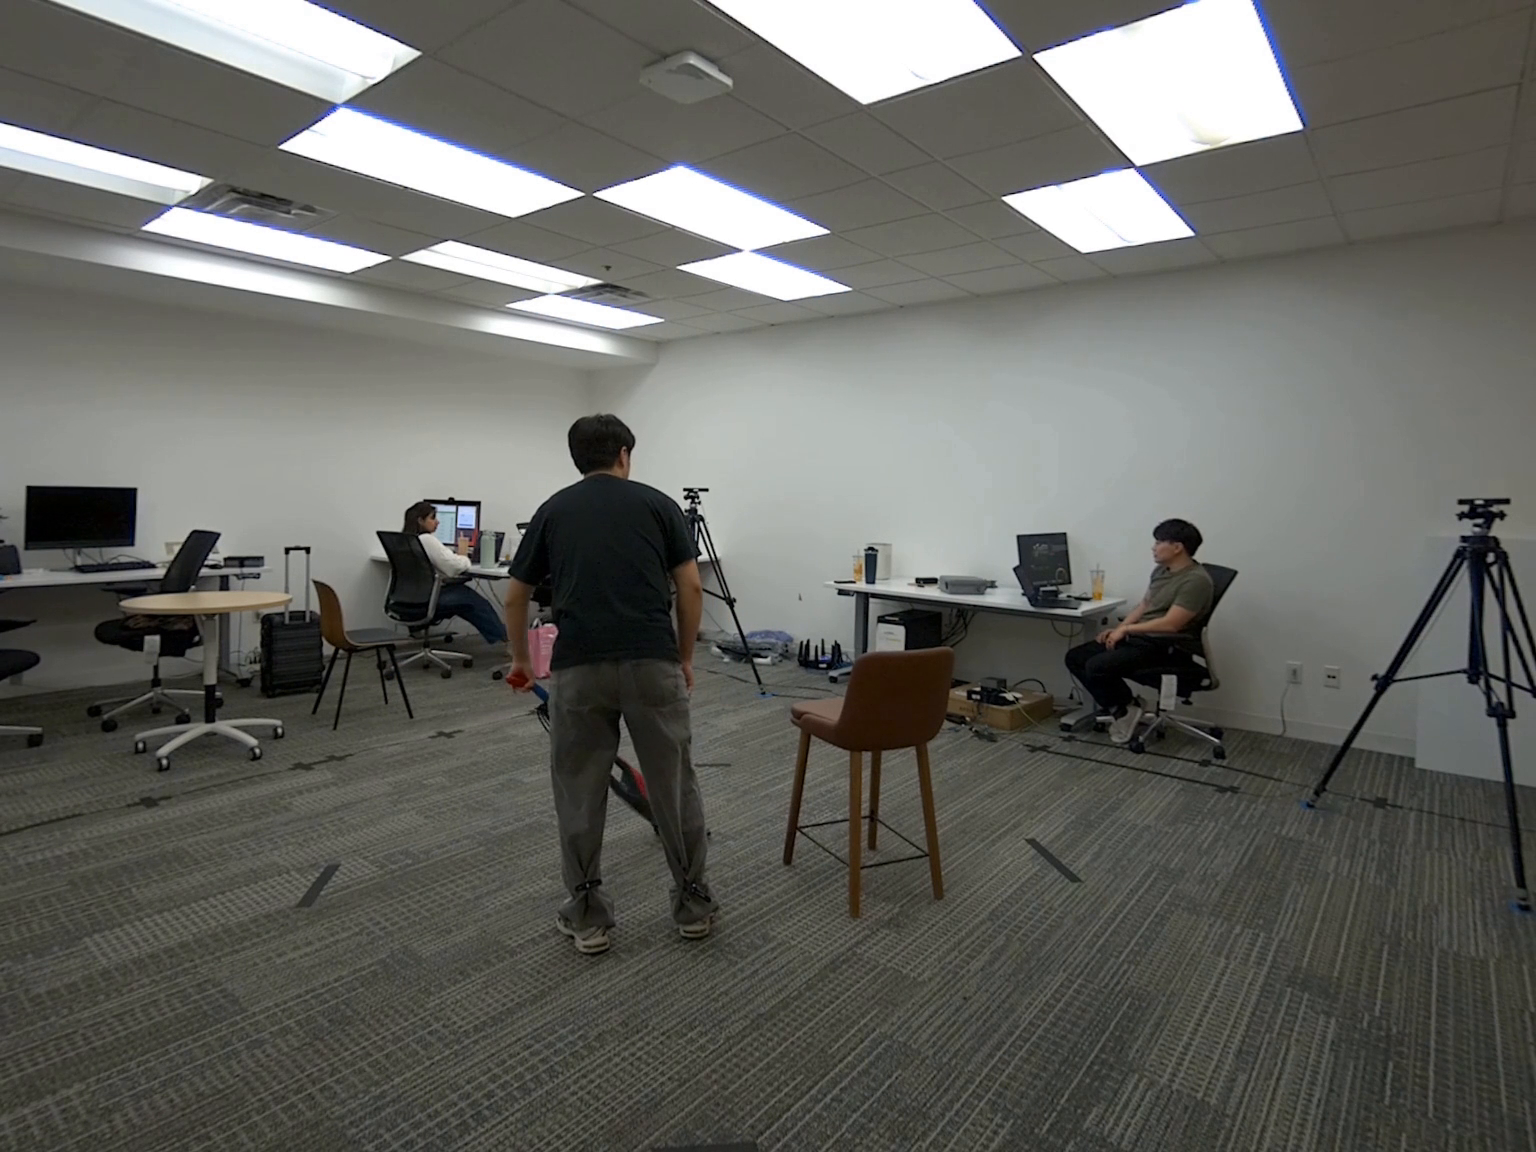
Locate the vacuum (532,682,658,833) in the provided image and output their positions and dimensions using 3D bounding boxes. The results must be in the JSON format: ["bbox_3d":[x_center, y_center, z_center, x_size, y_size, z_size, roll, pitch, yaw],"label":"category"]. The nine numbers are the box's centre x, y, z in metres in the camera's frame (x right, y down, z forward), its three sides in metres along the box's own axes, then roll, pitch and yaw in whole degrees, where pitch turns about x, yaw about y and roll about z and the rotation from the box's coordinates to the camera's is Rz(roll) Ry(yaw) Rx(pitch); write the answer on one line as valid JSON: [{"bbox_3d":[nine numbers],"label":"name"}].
[{"bbox_3d":[-0.623,0.684,3.140,0.261,0.145,1.009,1,-41,41],"label":"vacuum"}]
